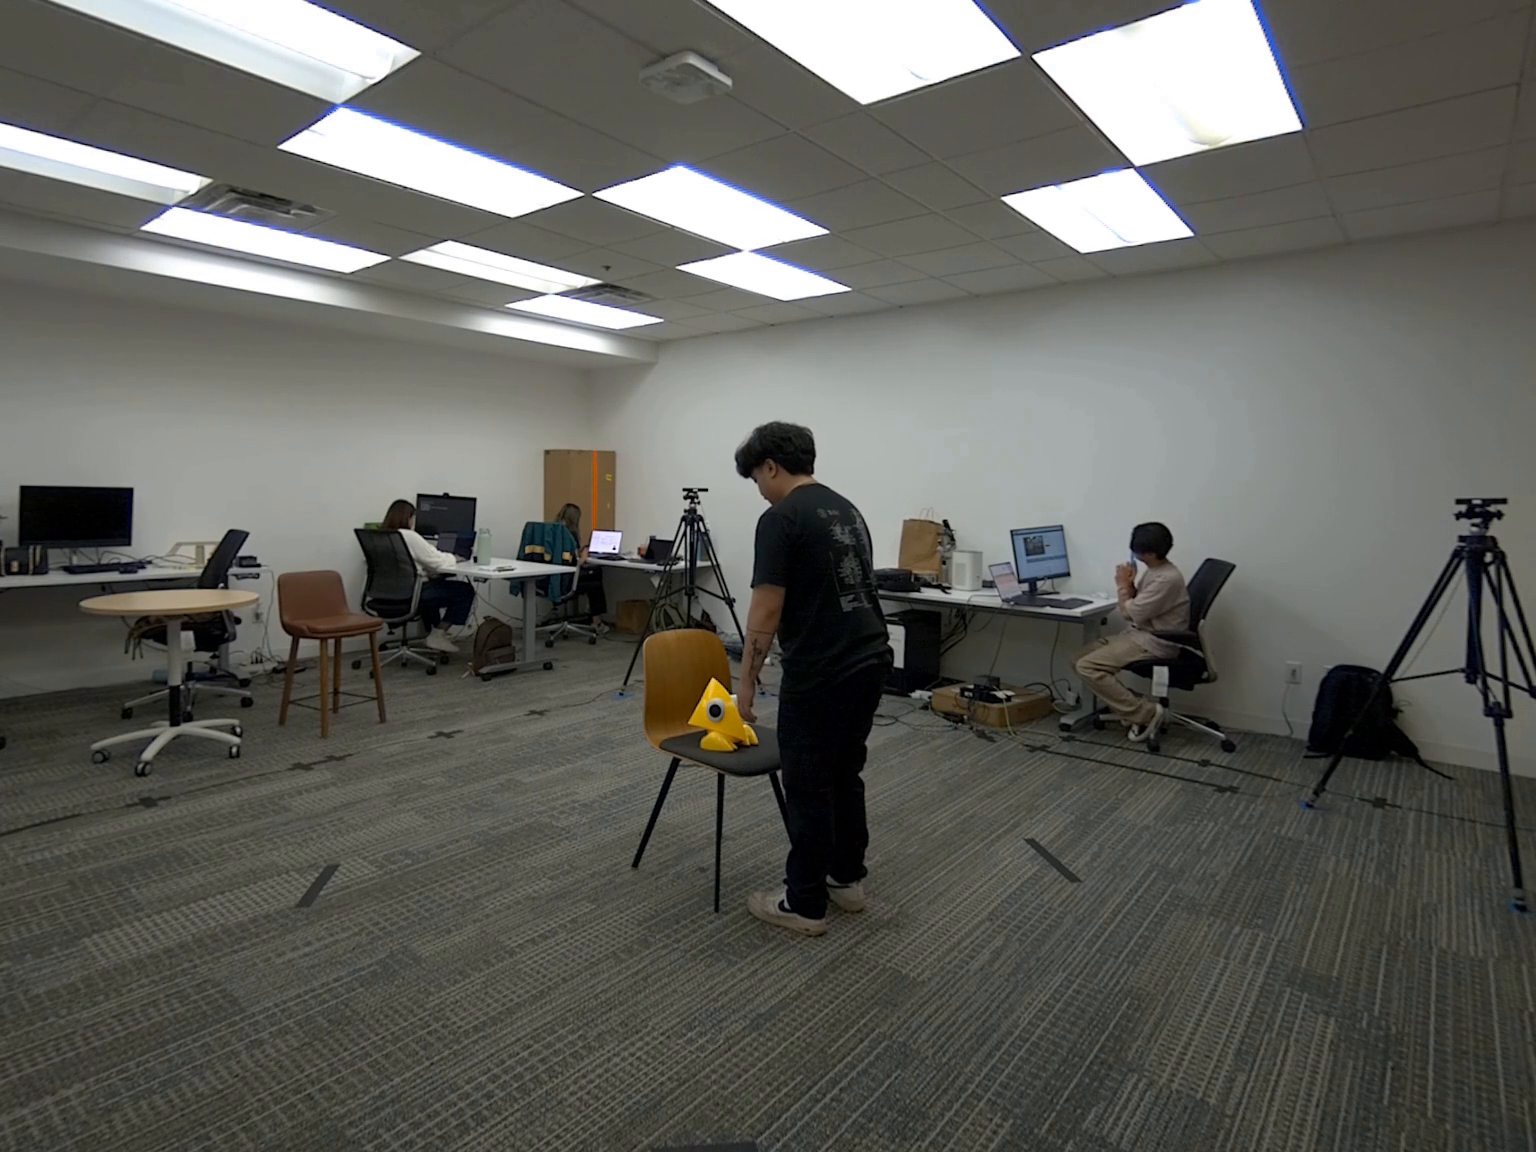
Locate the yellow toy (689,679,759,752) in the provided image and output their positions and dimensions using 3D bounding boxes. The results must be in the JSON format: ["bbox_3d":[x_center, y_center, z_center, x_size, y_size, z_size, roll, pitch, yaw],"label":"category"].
[{"bbox_3d":[-0.165,0.485,3.044,0.199,0.231,0.198,-2,0,45],"label":"yellow toy"}]
